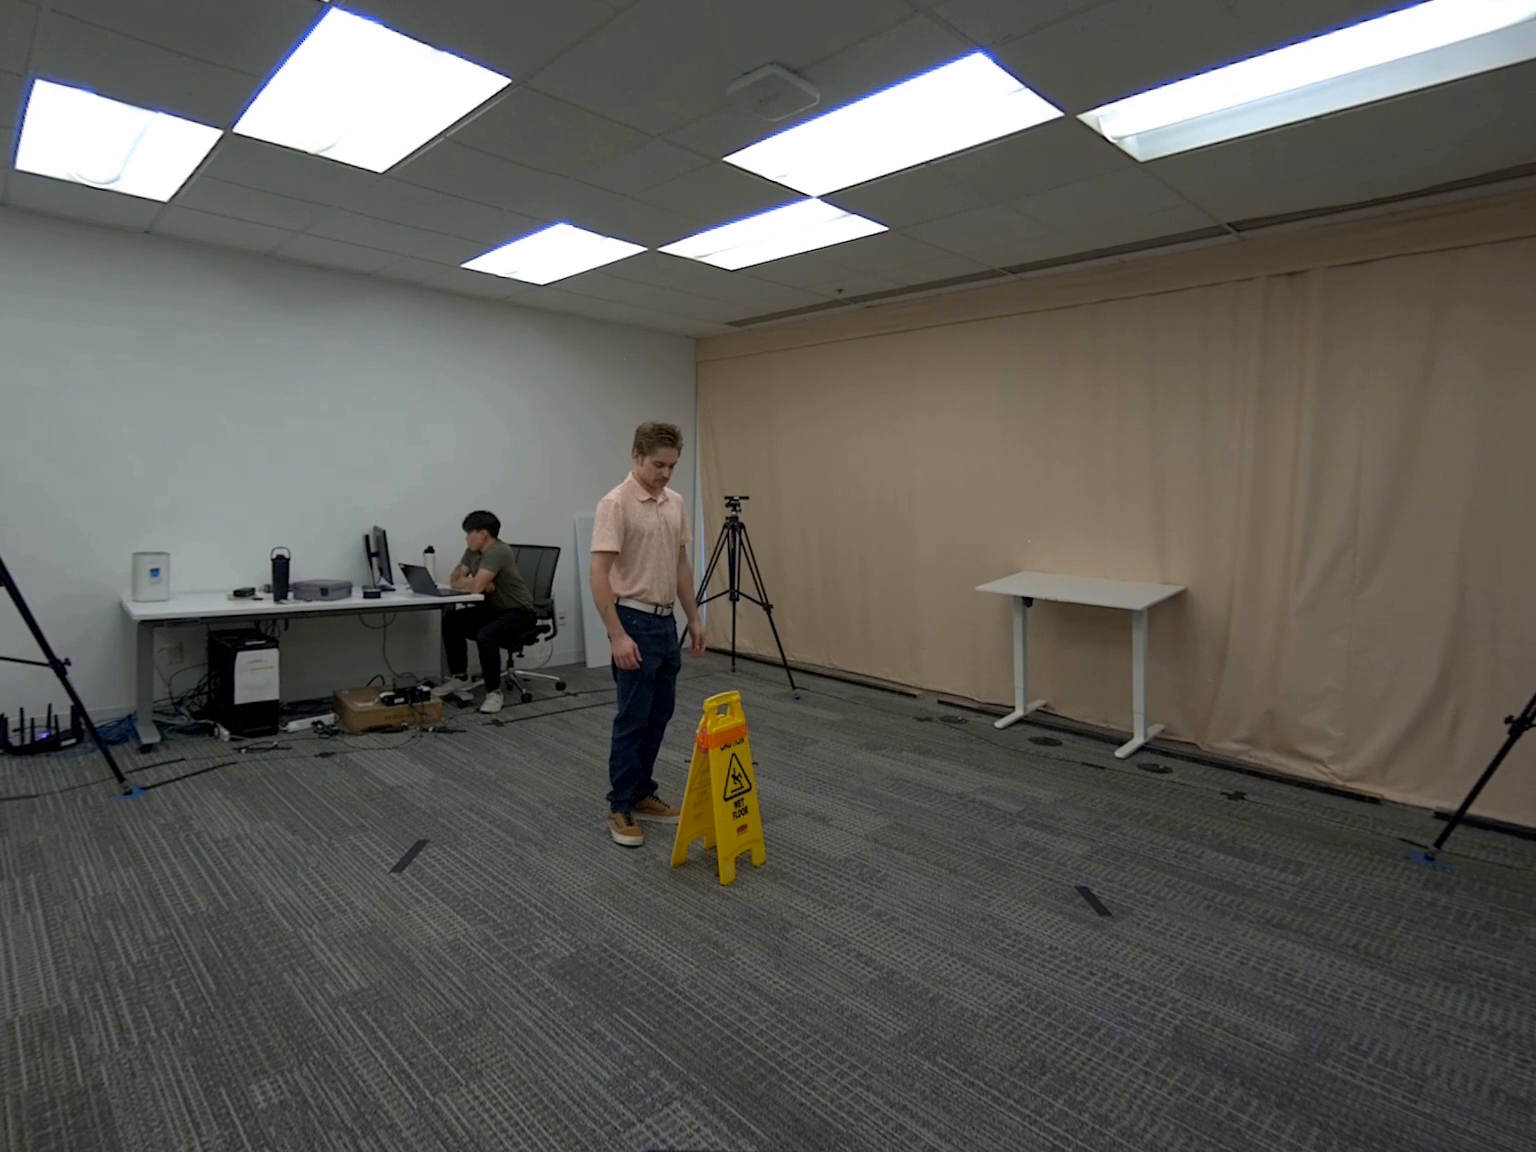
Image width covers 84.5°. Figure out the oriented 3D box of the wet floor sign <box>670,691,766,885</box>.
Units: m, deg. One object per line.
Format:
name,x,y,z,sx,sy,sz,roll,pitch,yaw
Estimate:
wet floor sign,-0.183,0.772,3.176,0.297,0.644,0.276,4,5,34
